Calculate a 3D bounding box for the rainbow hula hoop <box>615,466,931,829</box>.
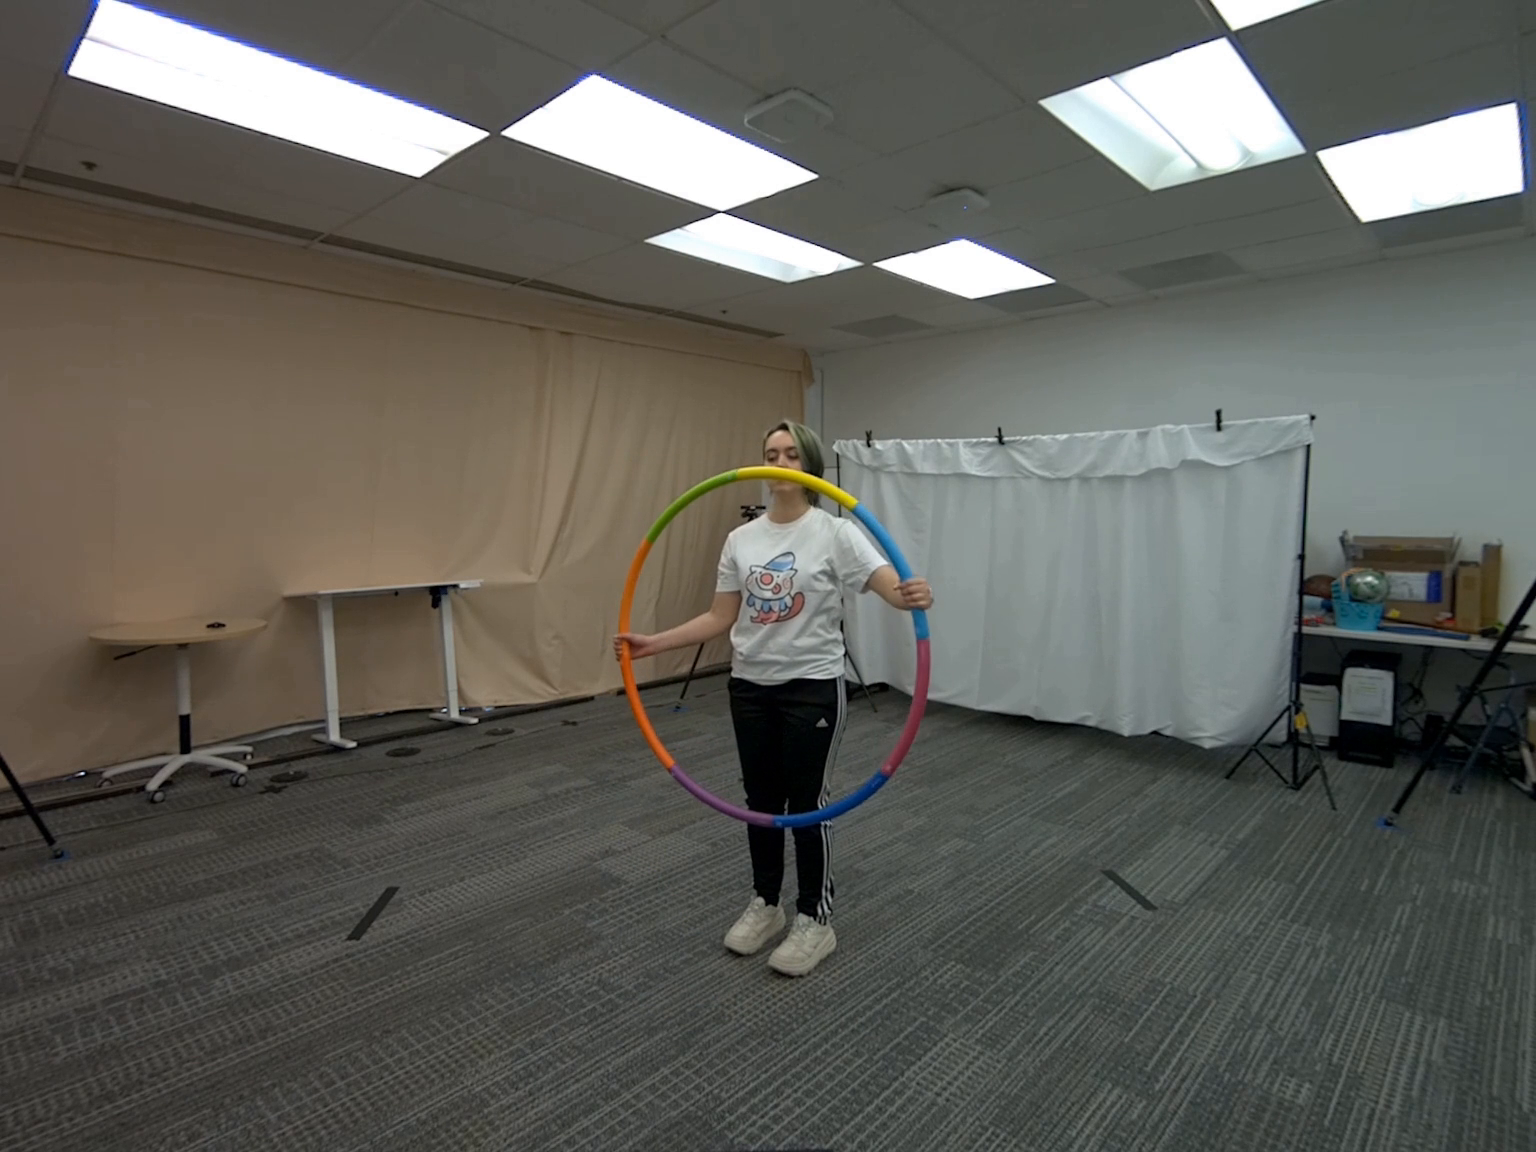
[{"bbox_3d":[-0.028,0.194,2.321,1.008,0.977,0.034,2,2,33],"label":"rainbow hula hoop"}]
